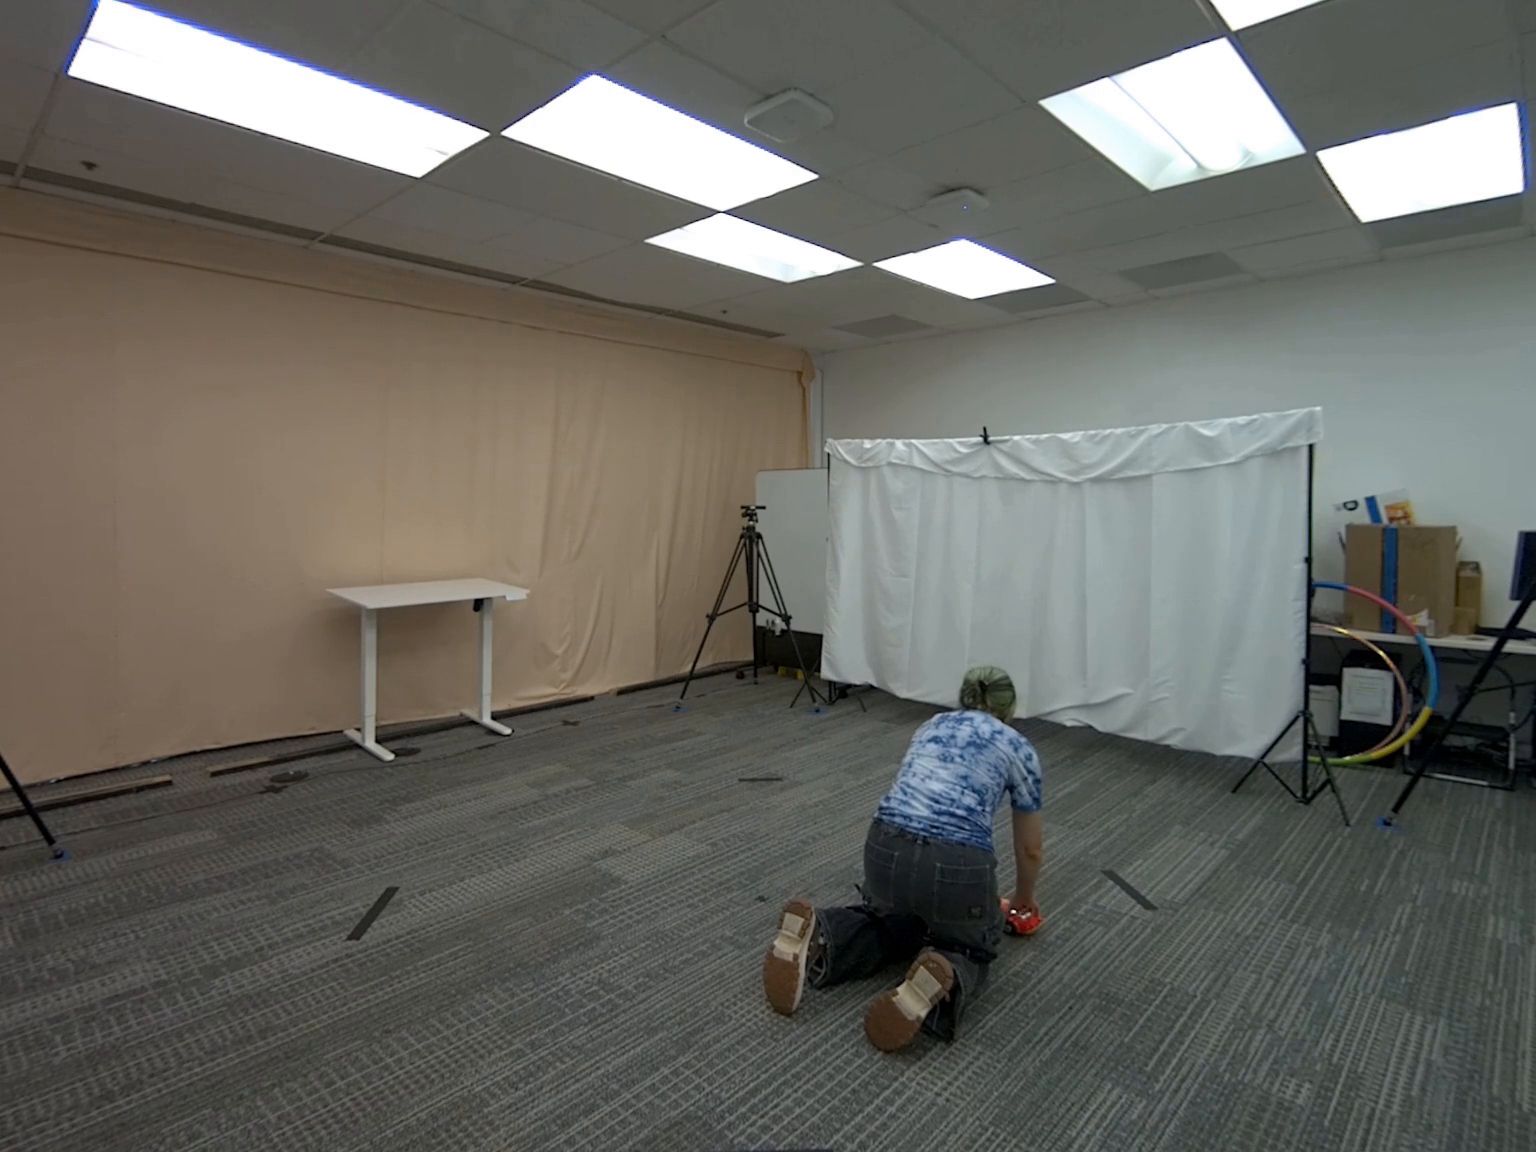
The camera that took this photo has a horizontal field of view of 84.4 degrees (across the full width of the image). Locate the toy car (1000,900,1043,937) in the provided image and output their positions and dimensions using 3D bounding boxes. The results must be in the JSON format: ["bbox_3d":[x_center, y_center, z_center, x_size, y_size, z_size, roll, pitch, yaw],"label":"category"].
[{"bbox_3d":[0.790,1.130,2.792,0.126,0.083,0.262,-1,-6,-42],"label":"toy car"}]
